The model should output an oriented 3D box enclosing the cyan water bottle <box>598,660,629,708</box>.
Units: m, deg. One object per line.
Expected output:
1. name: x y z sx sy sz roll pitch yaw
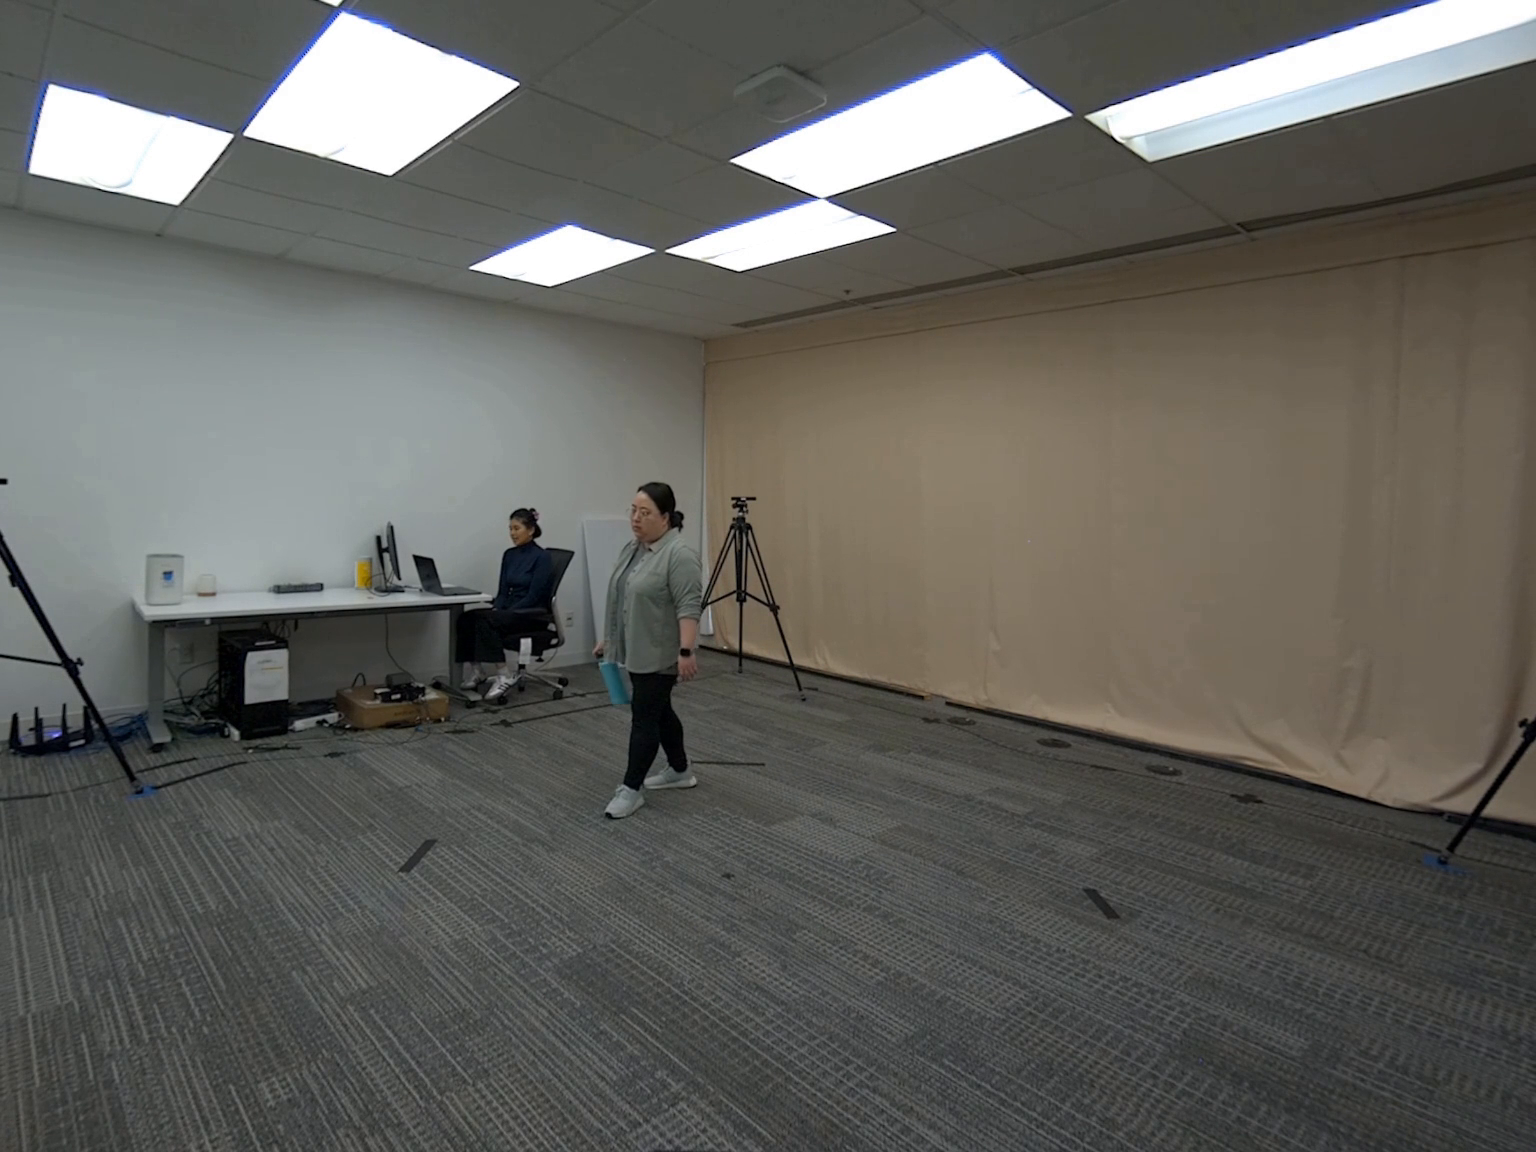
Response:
1. cyan water bottle: -0.755 0.473 4.059 0.092 0.281 0.093 -17 9 2
